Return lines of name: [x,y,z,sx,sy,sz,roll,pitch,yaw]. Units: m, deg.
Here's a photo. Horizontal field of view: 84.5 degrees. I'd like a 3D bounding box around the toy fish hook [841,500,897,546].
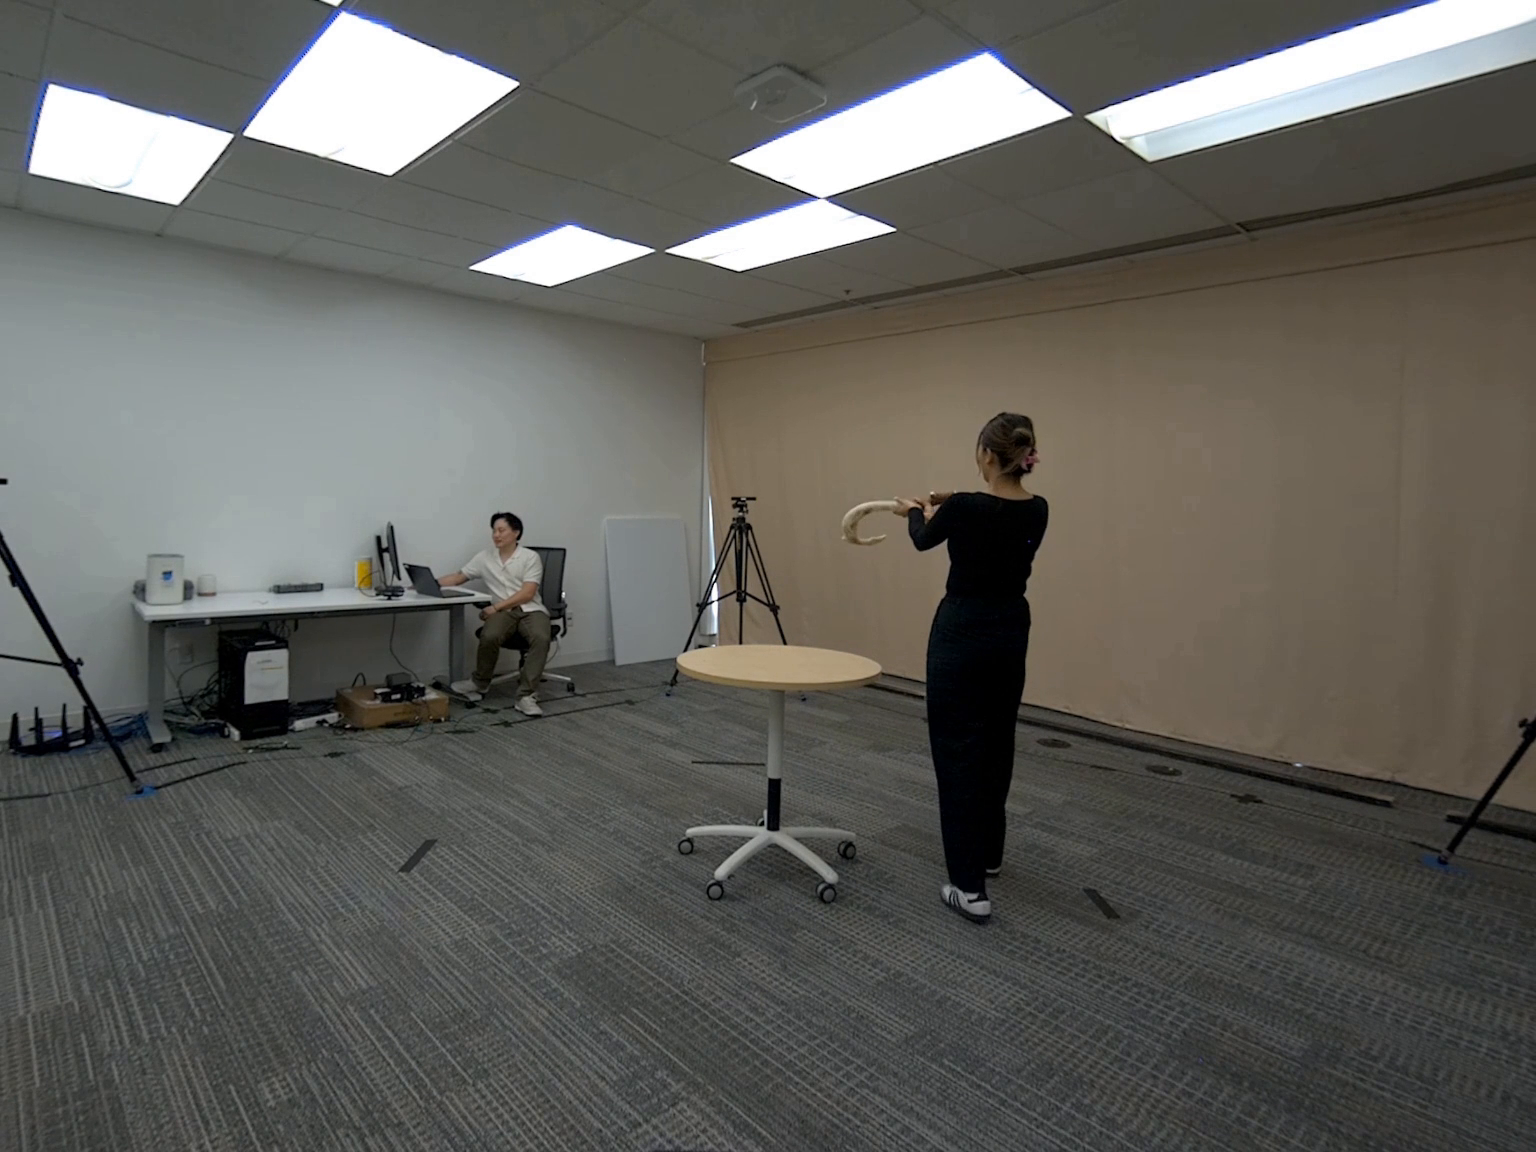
toy fish hook: [0.550,-0.245,3.507,0.504,0.219,0.050,-12,45,-7]
